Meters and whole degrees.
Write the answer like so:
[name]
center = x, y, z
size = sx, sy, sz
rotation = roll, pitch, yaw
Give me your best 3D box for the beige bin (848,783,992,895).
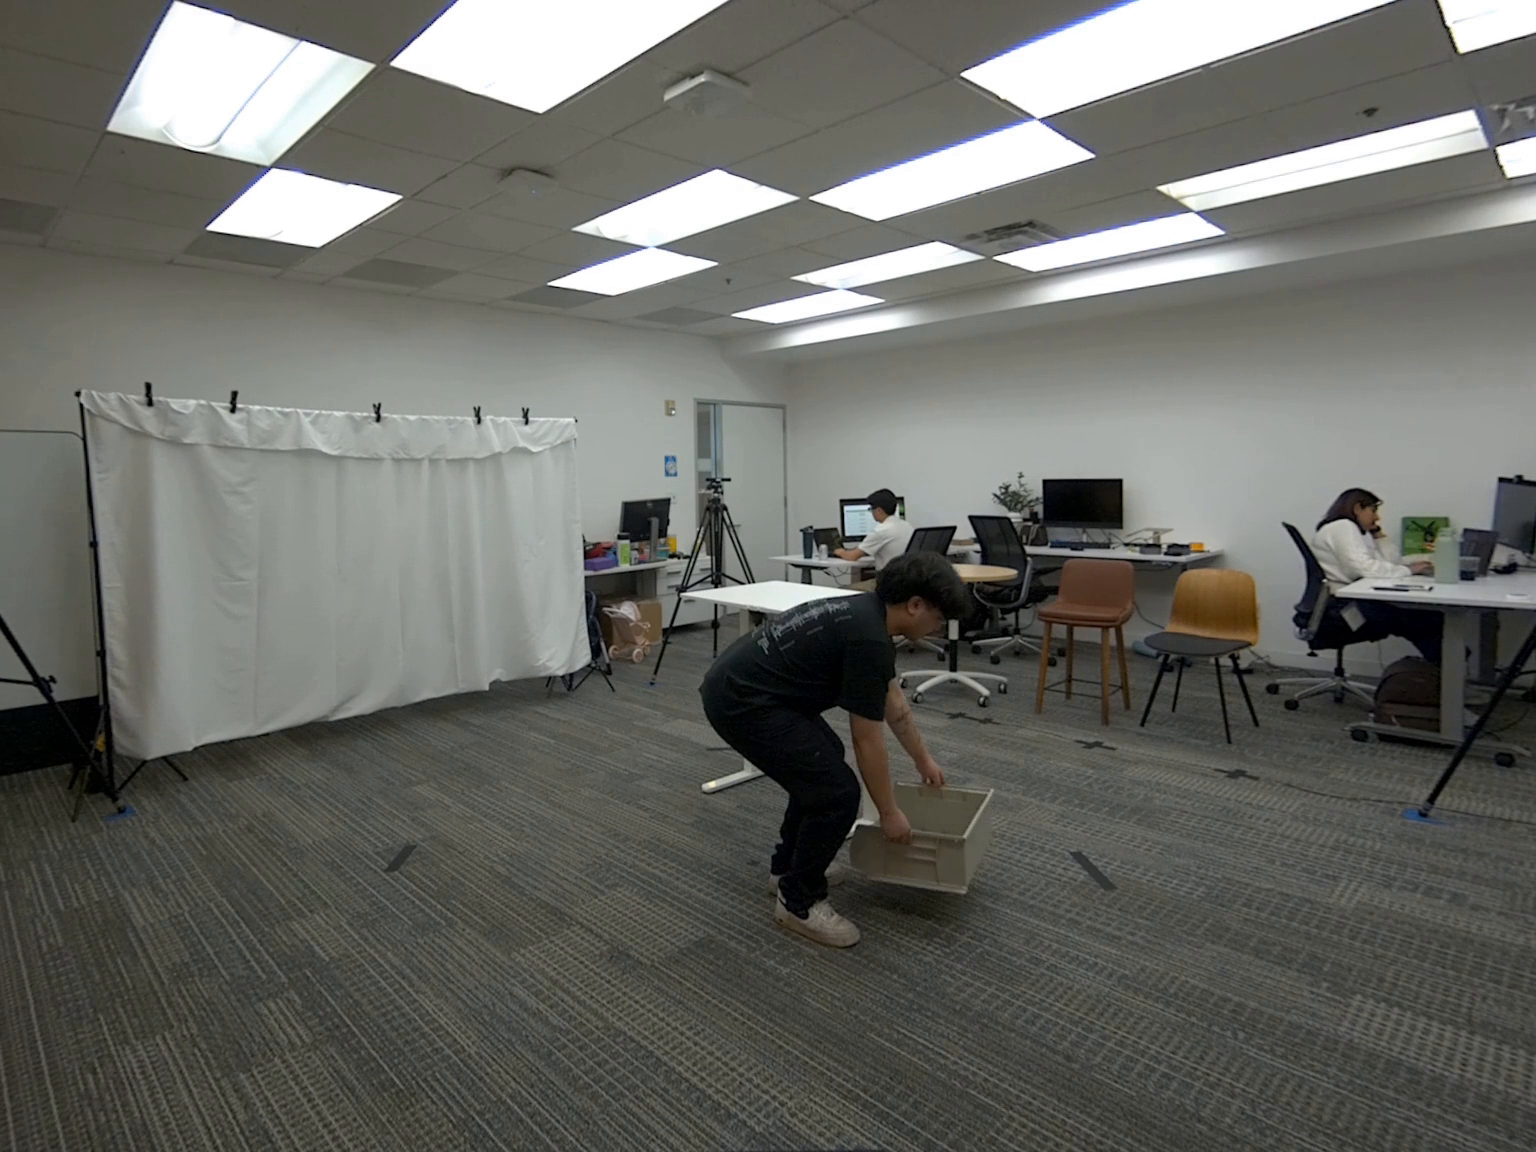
[beige bin]
center = 0.514, 0.849, 2.823
size = 0.386, 0.188, 0.414
rotation = 0, 7, 27
